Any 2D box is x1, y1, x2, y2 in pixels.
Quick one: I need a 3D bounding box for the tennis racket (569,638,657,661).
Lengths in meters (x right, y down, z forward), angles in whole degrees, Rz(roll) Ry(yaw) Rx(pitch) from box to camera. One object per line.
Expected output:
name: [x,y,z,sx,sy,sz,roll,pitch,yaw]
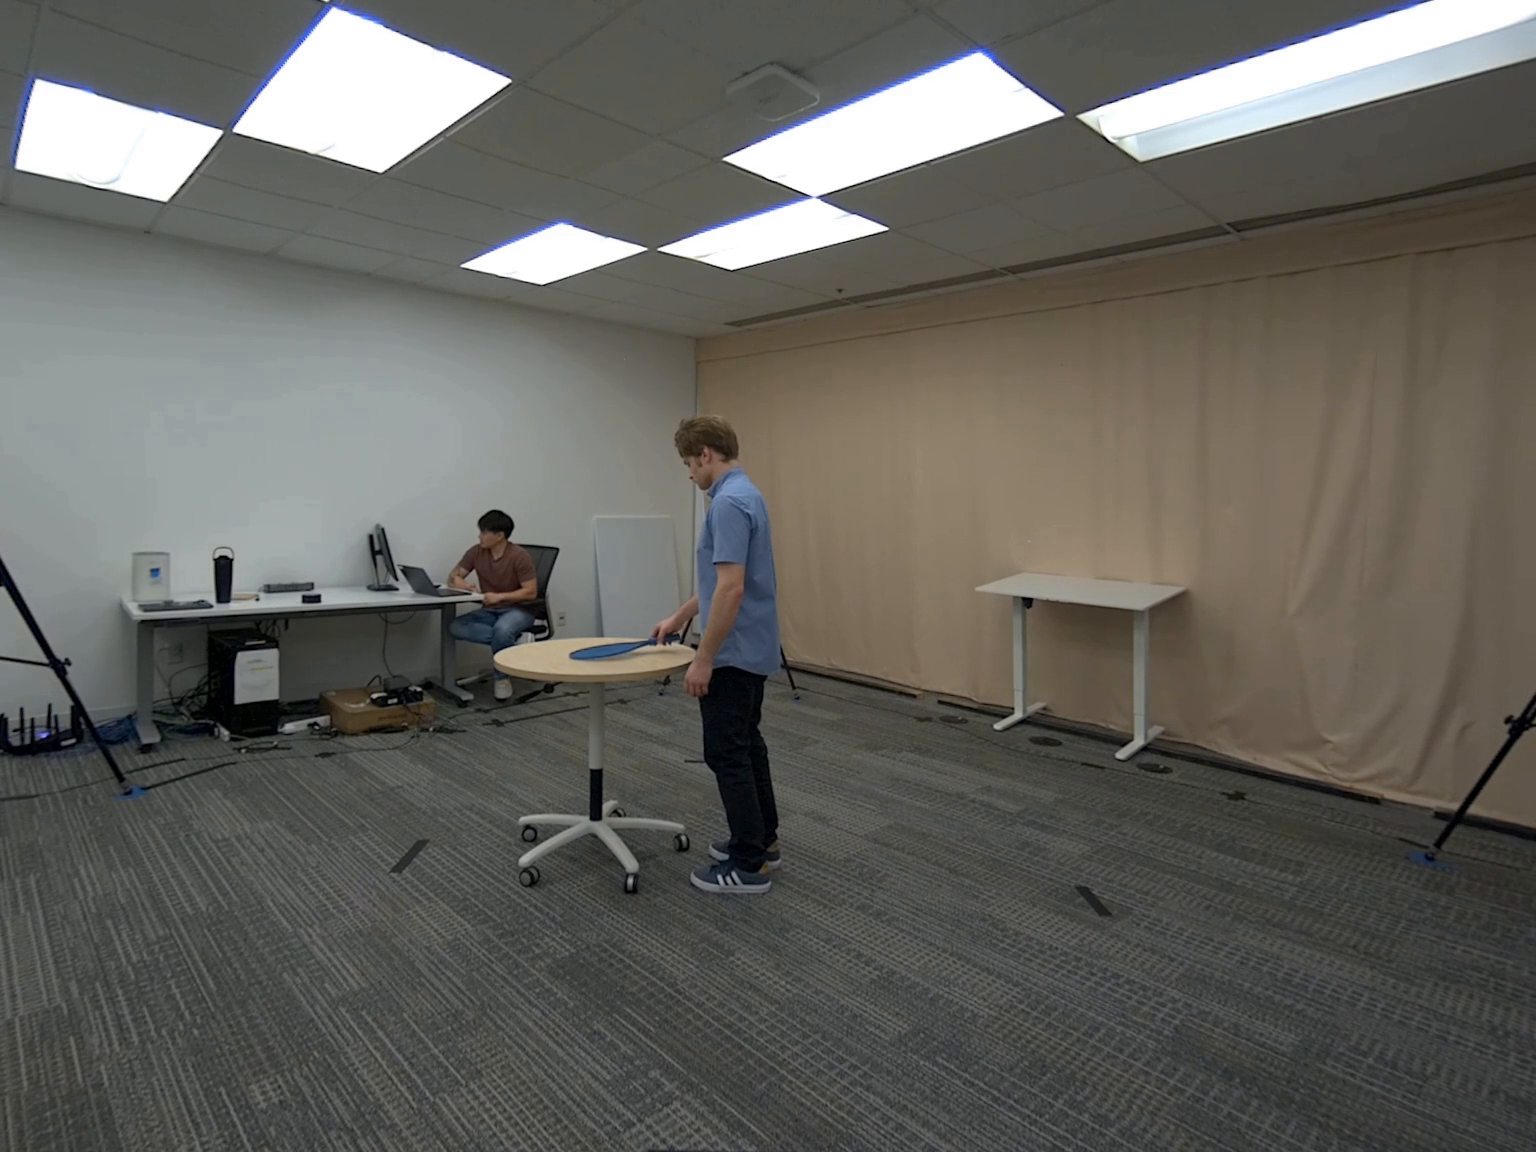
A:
tennis racket: [-0.551,0.272,3.203,0.428,0.031,0.217,-8,6,-17]
